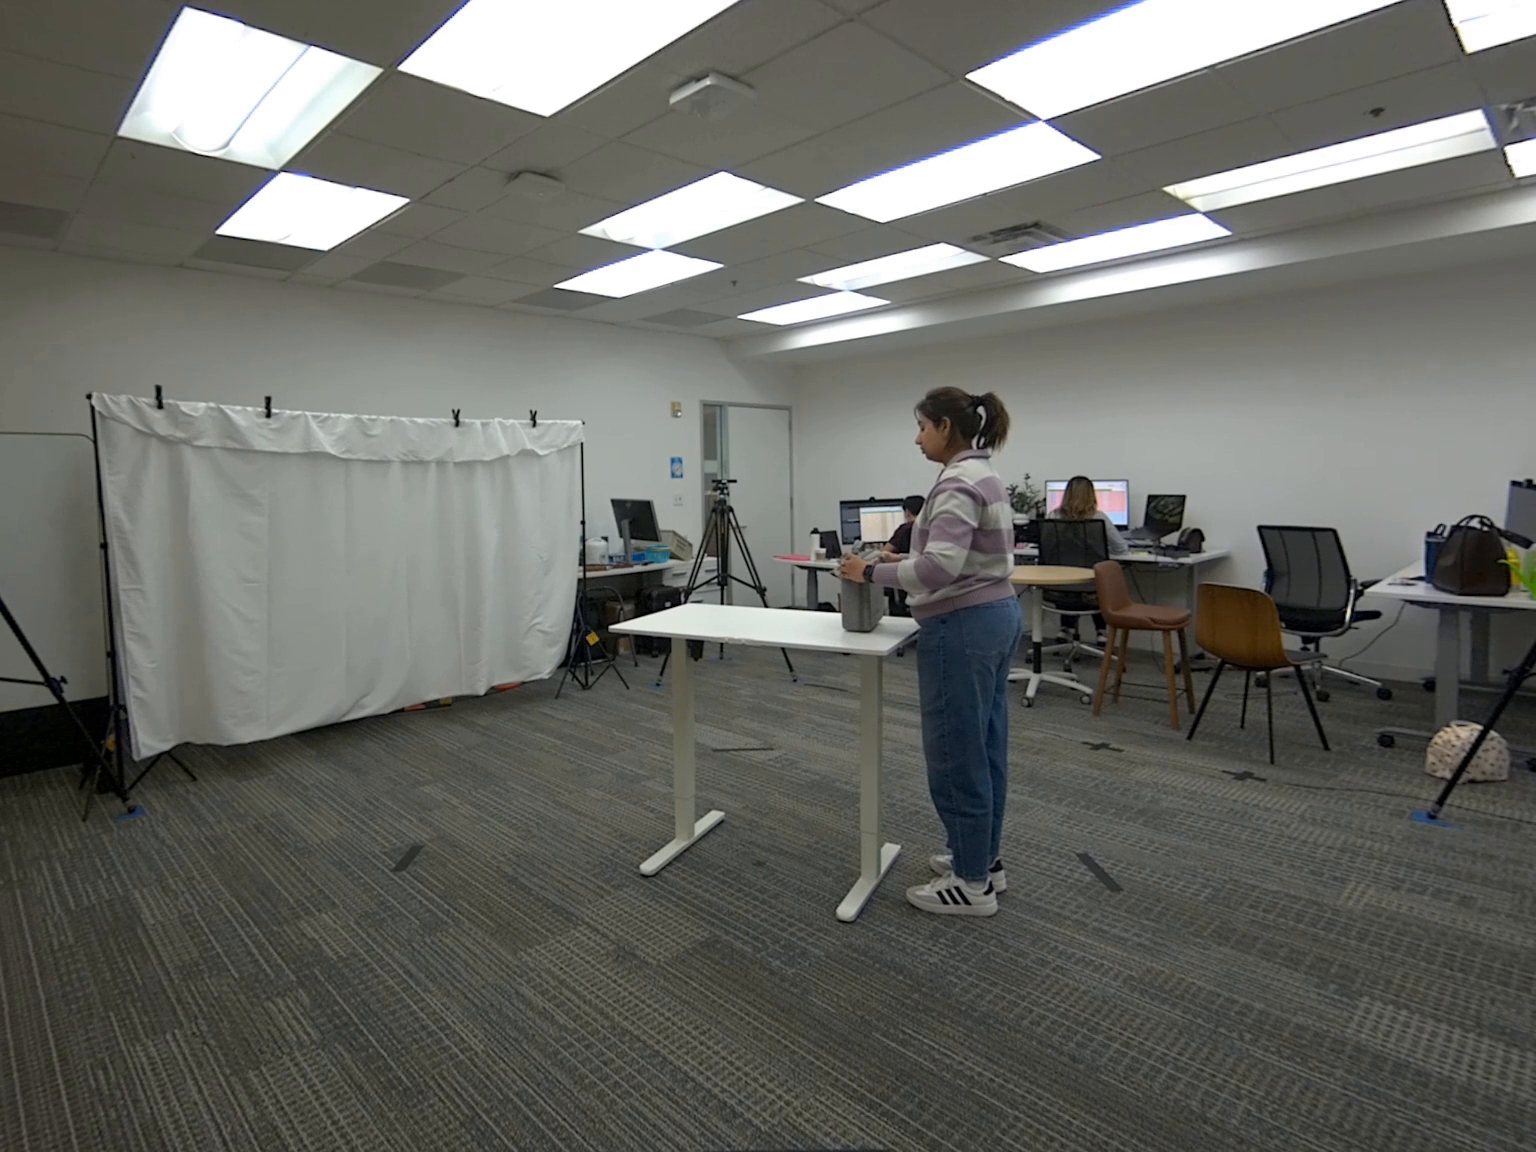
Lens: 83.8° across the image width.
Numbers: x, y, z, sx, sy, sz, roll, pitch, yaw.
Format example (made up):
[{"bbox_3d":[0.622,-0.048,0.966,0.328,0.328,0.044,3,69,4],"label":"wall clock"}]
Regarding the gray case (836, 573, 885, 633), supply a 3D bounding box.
[{"bbox_3d":[0.331,0.048,2.947,0.106,0.258,0.255,0,9,16],"label":"gray case"}]
